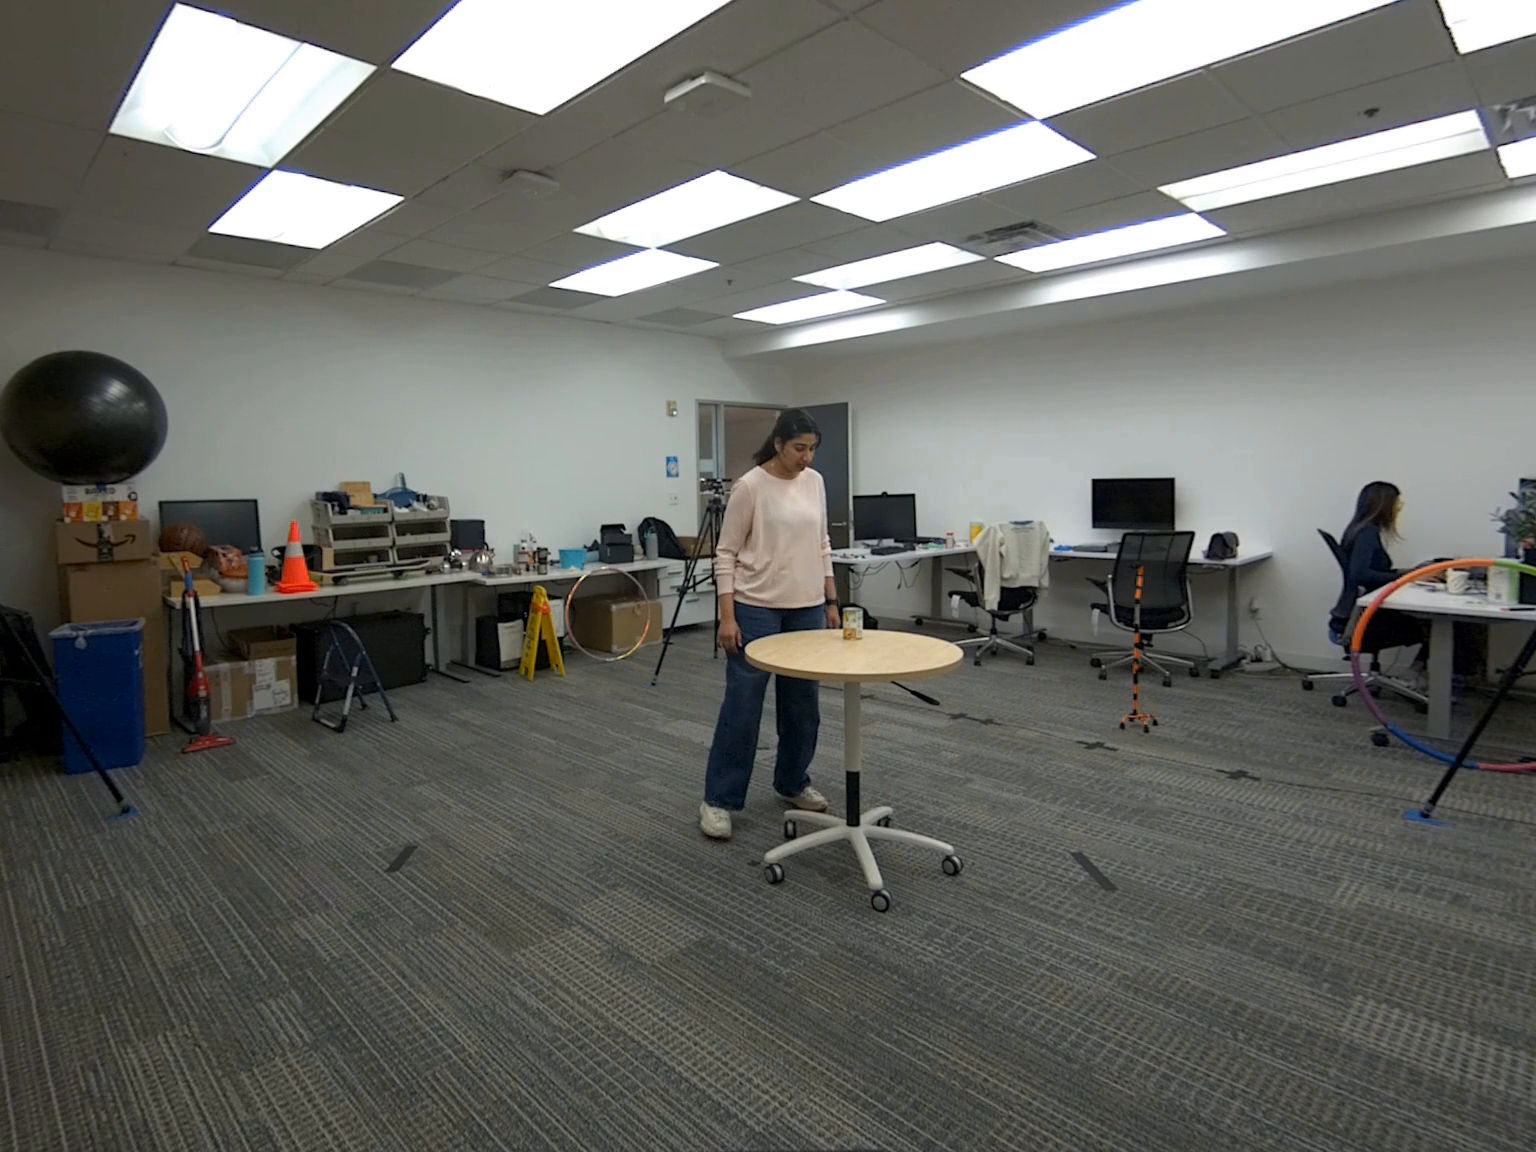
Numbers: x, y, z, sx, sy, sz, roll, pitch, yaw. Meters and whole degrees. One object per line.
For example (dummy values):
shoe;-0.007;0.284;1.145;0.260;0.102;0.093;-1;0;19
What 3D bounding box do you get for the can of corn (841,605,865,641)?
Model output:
can of corn;0.323;0.182;3.240;0.074;0.111;0.074;0;3;-2
